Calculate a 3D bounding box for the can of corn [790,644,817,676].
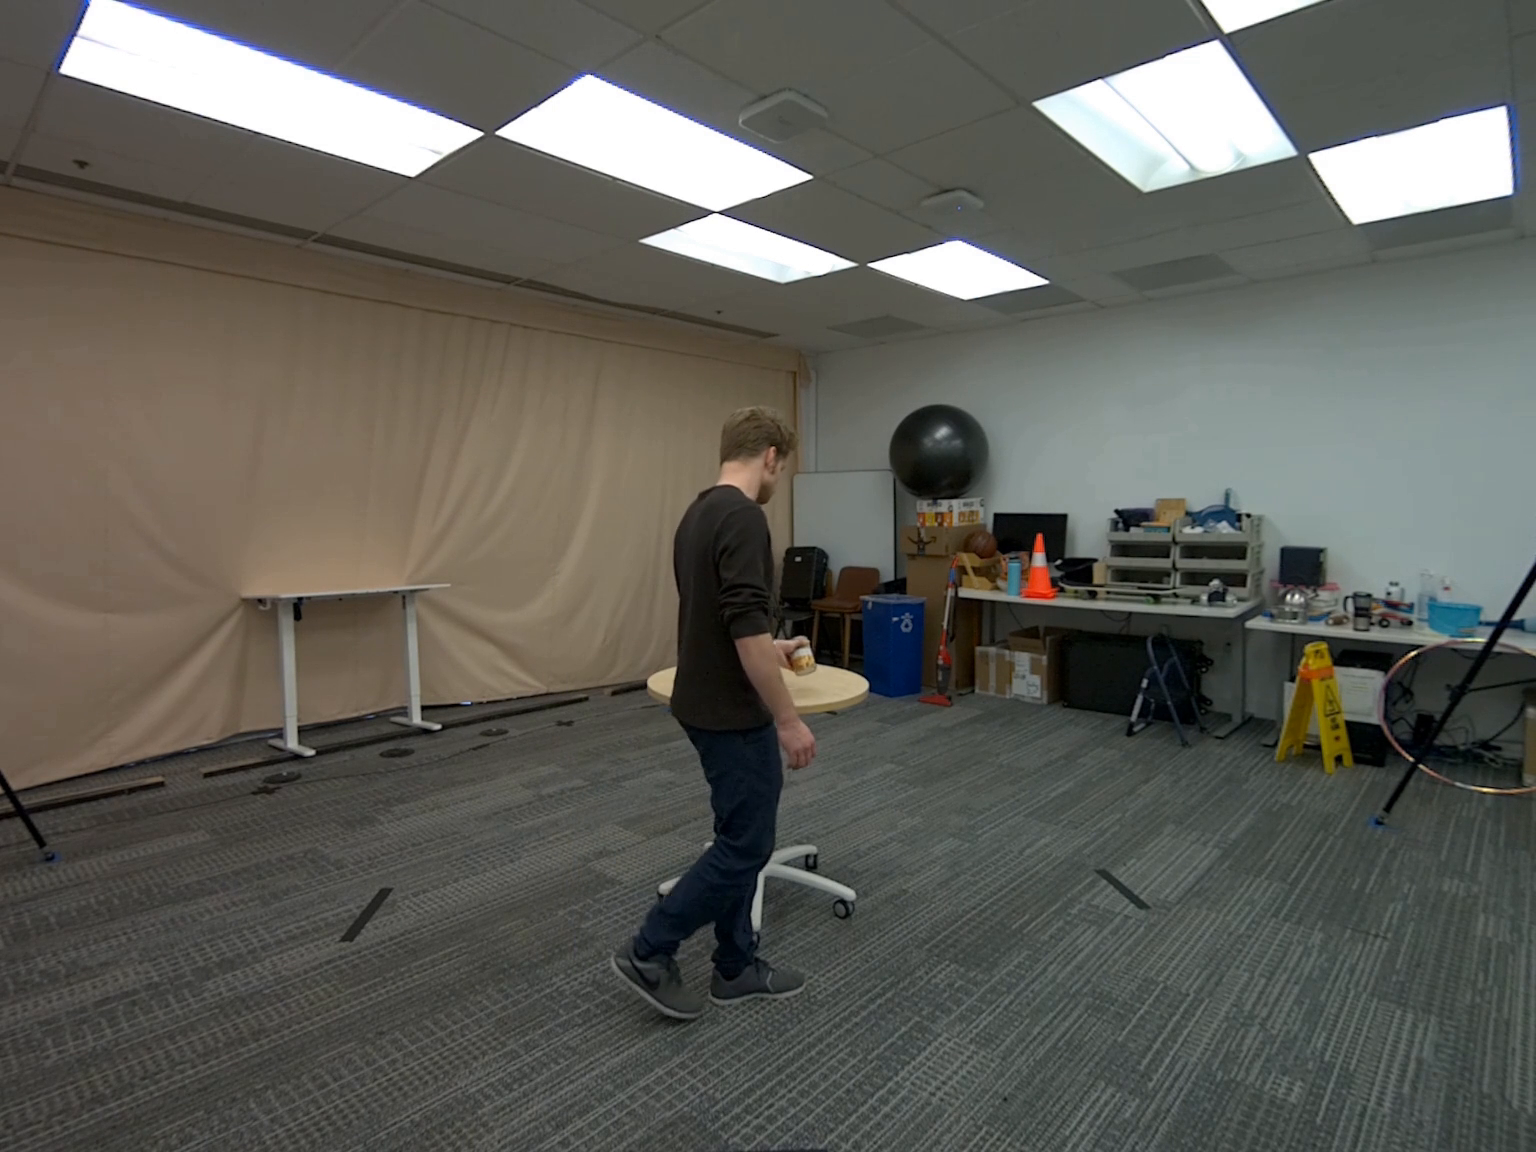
[{"bbox_3d":[0.111,0.263,2.765,0.074,0.113,0.073,-11,-20,-6],"label":"can of corn"}]
